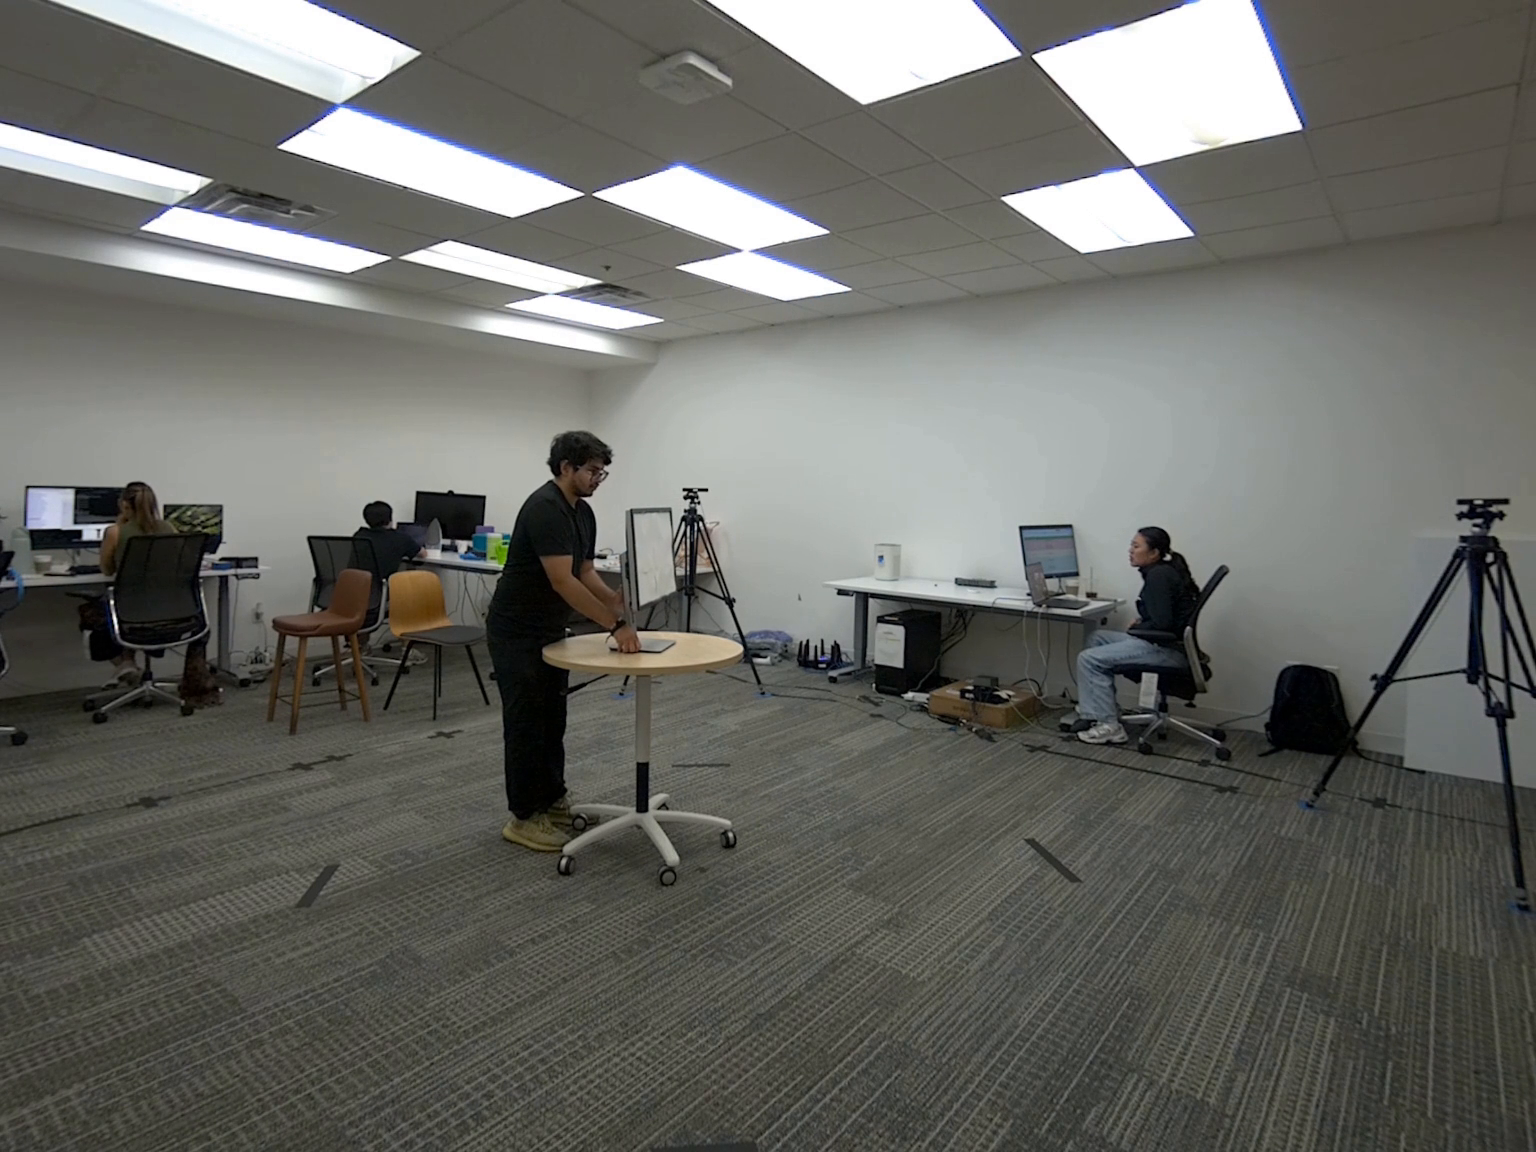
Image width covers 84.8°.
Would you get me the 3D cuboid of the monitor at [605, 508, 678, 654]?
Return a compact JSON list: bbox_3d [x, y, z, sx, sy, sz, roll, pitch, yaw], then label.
[{"bbox_3d":[-0.508,0.008,3.272,0.213,0.553,0.560,0,3,10],"label":"monitor"}]
